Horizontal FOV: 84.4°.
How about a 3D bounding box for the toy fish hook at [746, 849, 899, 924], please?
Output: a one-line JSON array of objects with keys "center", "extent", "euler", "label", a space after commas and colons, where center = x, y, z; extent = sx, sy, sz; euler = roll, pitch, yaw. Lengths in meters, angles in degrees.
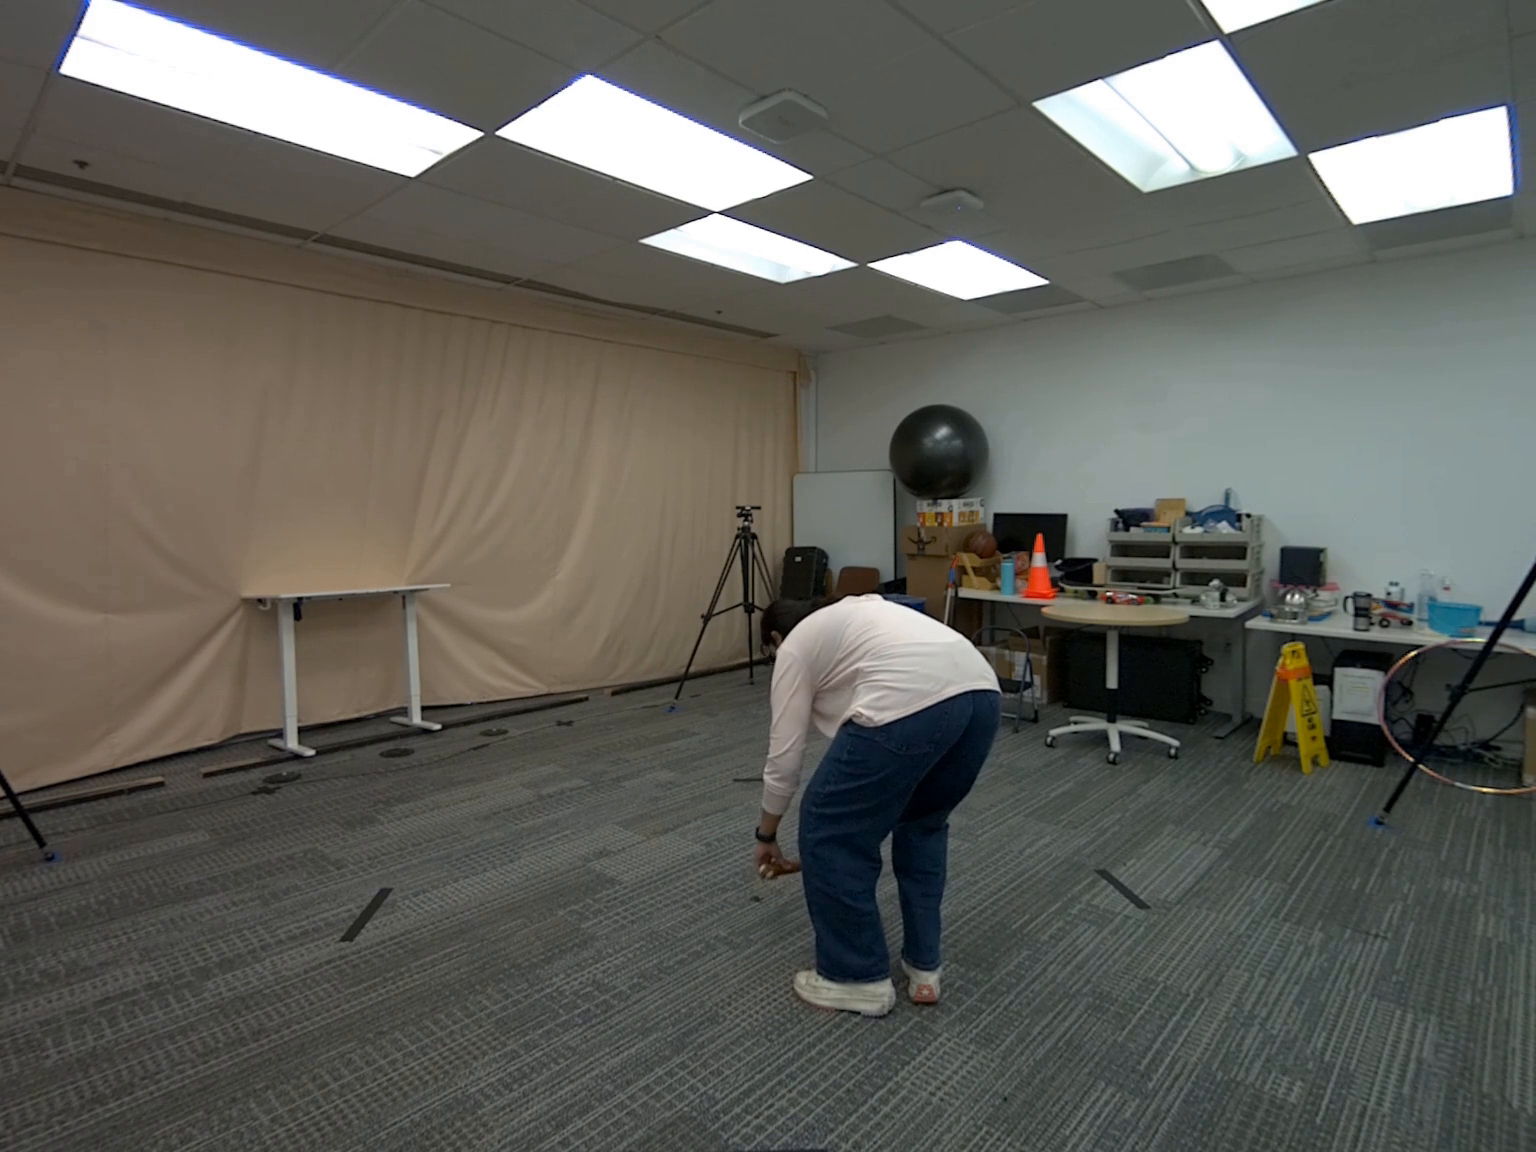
[{"center": [0.188, 0.944, 2.649], "extent": [0.489, 0.048, 0.233], "euler": [9, 20, -42], "label": "toy fish hook"}]
